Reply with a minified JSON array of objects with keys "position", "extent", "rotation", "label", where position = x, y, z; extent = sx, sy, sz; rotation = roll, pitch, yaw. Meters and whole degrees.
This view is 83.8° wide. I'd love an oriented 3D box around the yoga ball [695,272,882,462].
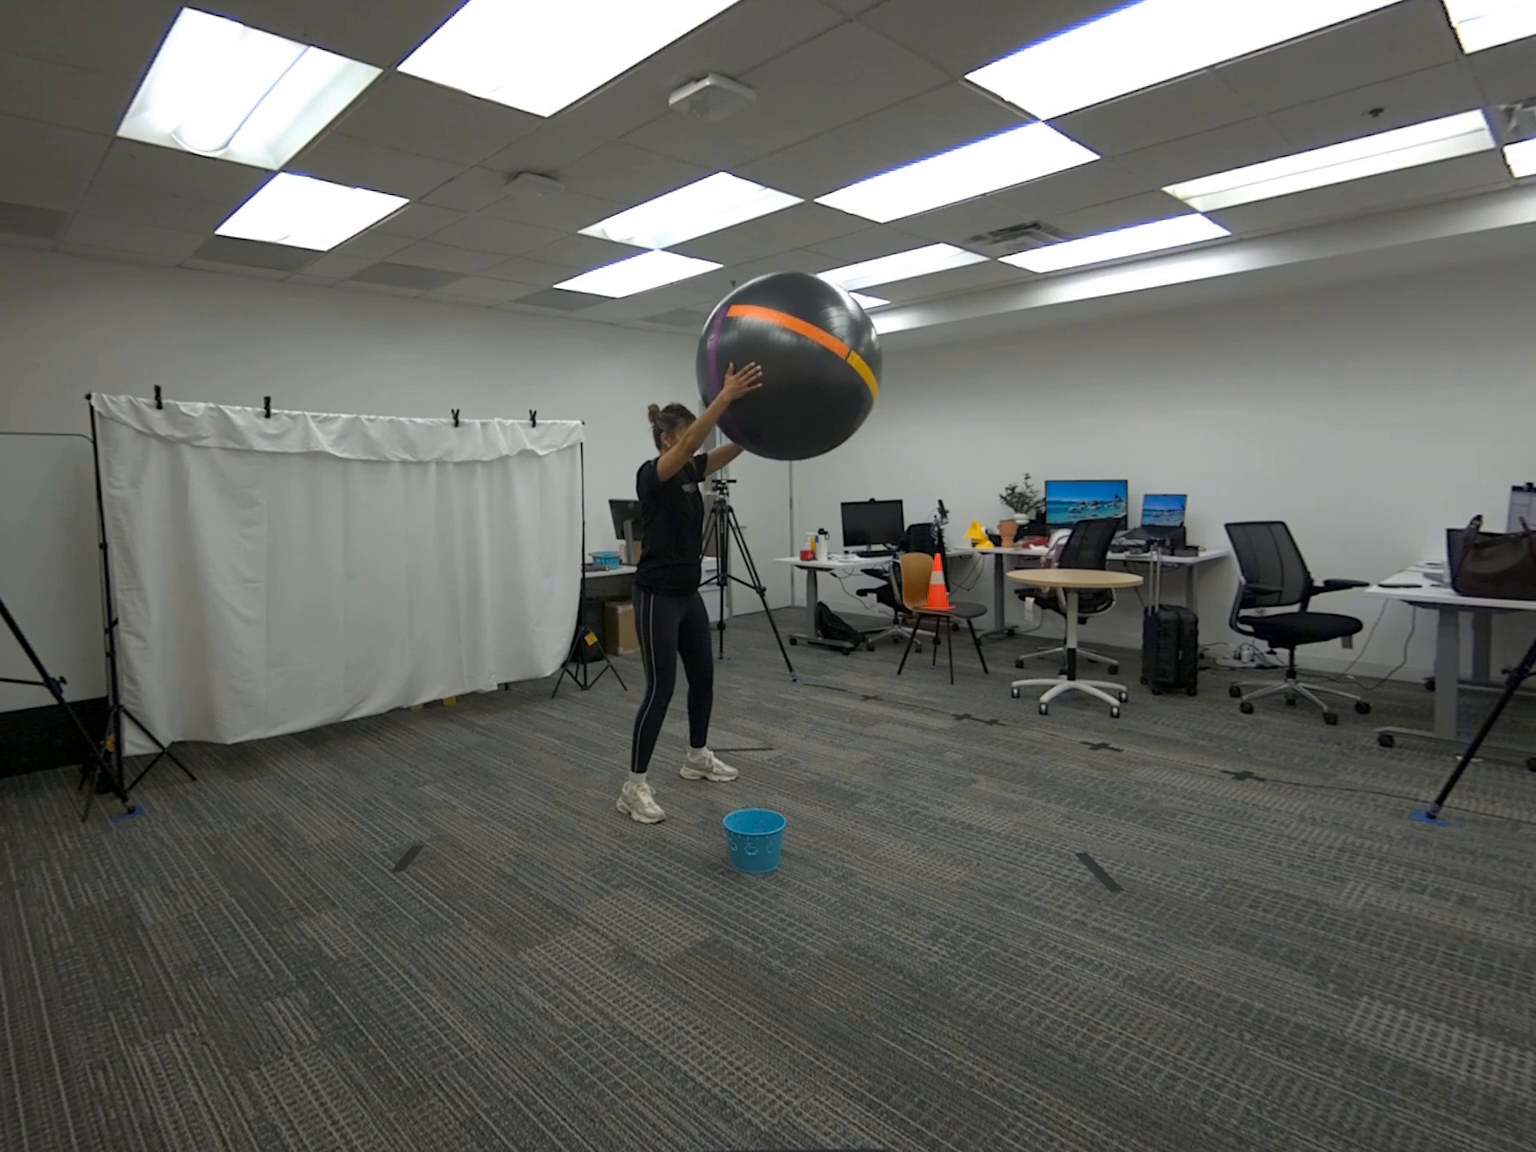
[{"position":[0.081,-0.837,3.492],"extent":[0.757,0.755,0.762],"rotation":[-1,5,-2],"label":"yoga ball"}]
